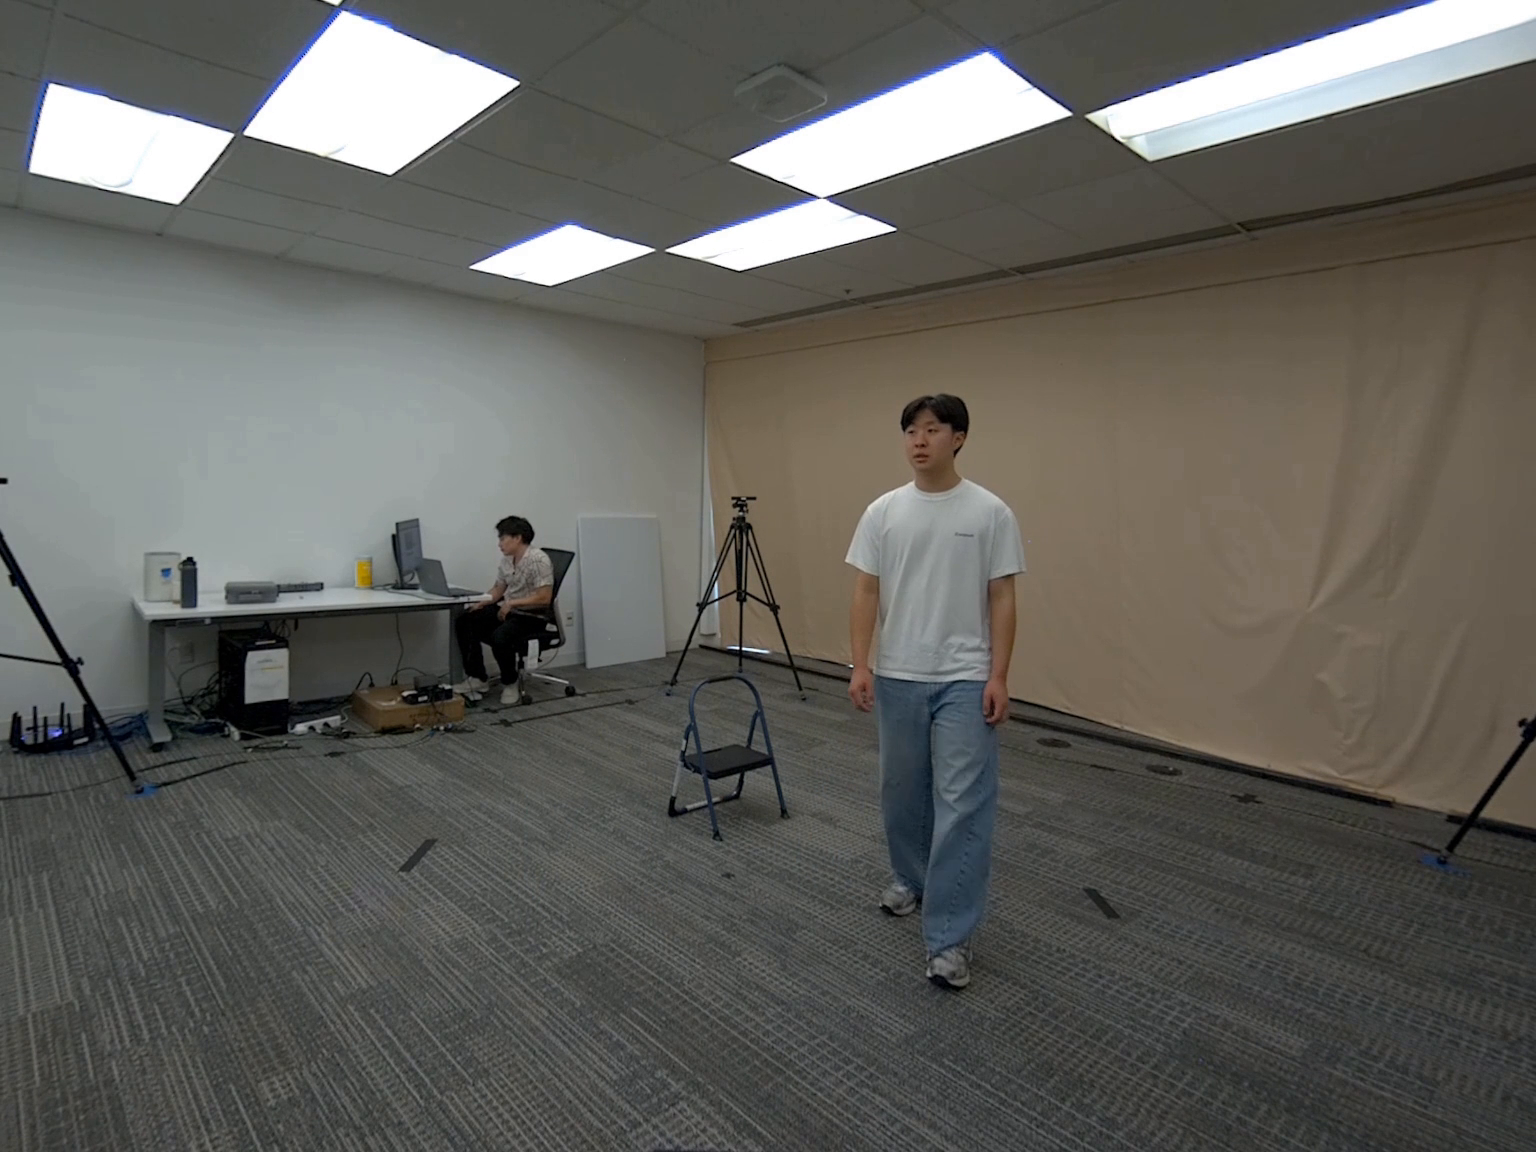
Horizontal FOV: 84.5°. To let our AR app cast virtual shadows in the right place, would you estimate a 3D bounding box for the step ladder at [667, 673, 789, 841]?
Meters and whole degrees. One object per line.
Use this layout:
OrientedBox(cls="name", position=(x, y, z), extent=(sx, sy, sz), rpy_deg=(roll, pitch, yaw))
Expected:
OrientedBox(cls="step ladder", position=(-0.172, 0.750, 3.670), extent=(0.420, 0.604, 0.358), rpy_deg=(-1, 5, -44))
